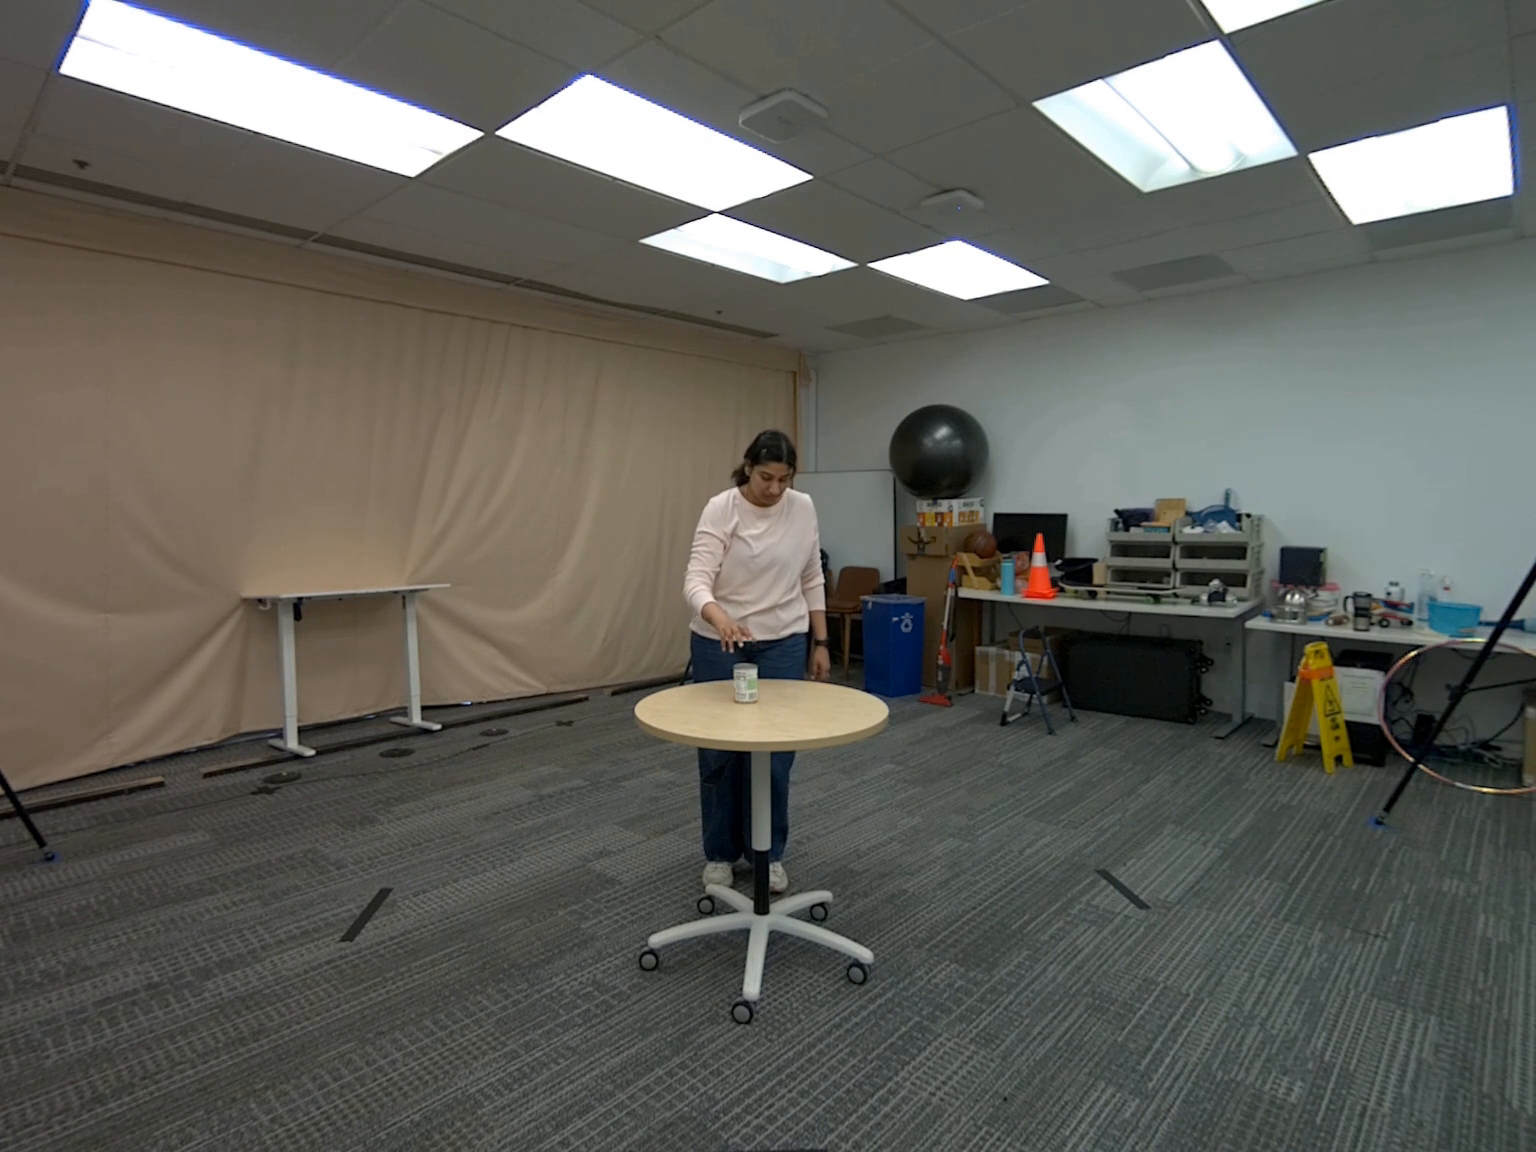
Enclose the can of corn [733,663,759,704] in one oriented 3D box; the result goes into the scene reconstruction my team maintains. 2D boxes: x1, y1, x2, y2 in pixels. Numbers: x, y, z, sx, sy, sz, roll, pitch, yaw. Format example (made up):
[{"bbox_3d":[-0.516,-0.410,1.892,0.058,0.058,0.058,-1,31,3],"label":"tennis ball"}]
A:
[{"bbox_3d":[-0.070,0.334,2.620,0.074,0.111,0.074,-3,4,-2],"label":"can of corn"}]
